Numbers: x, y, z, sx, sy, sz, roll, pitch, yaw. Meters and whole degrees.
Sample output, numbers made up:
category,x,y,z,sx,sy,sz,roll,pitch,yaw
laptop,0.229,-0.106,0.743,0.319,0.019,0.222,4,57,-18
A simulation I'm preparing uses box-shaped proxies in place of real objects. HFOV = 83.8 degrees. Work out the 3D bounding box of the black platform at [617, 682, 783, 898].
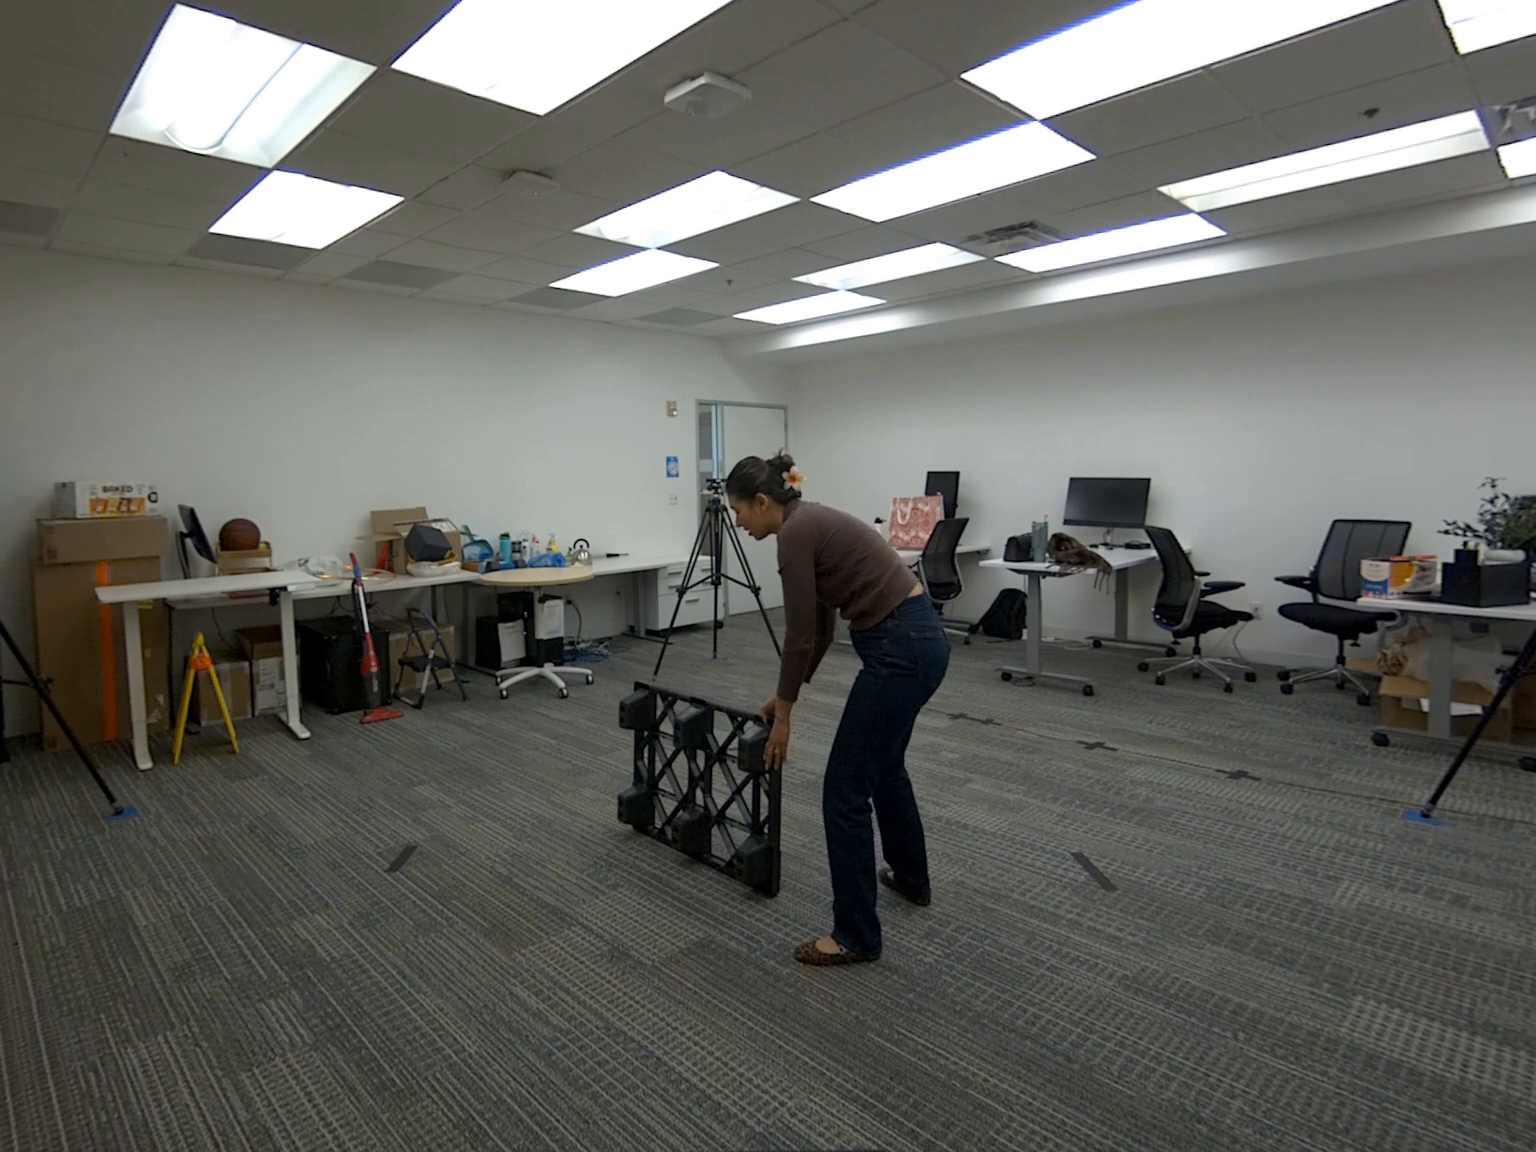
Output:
category,x,y,z,sx,sy,sz,roll,pitch,yaw
black platform,-0.283,0.750,3.115,0.139,0.604,0.830,0,3,-43
